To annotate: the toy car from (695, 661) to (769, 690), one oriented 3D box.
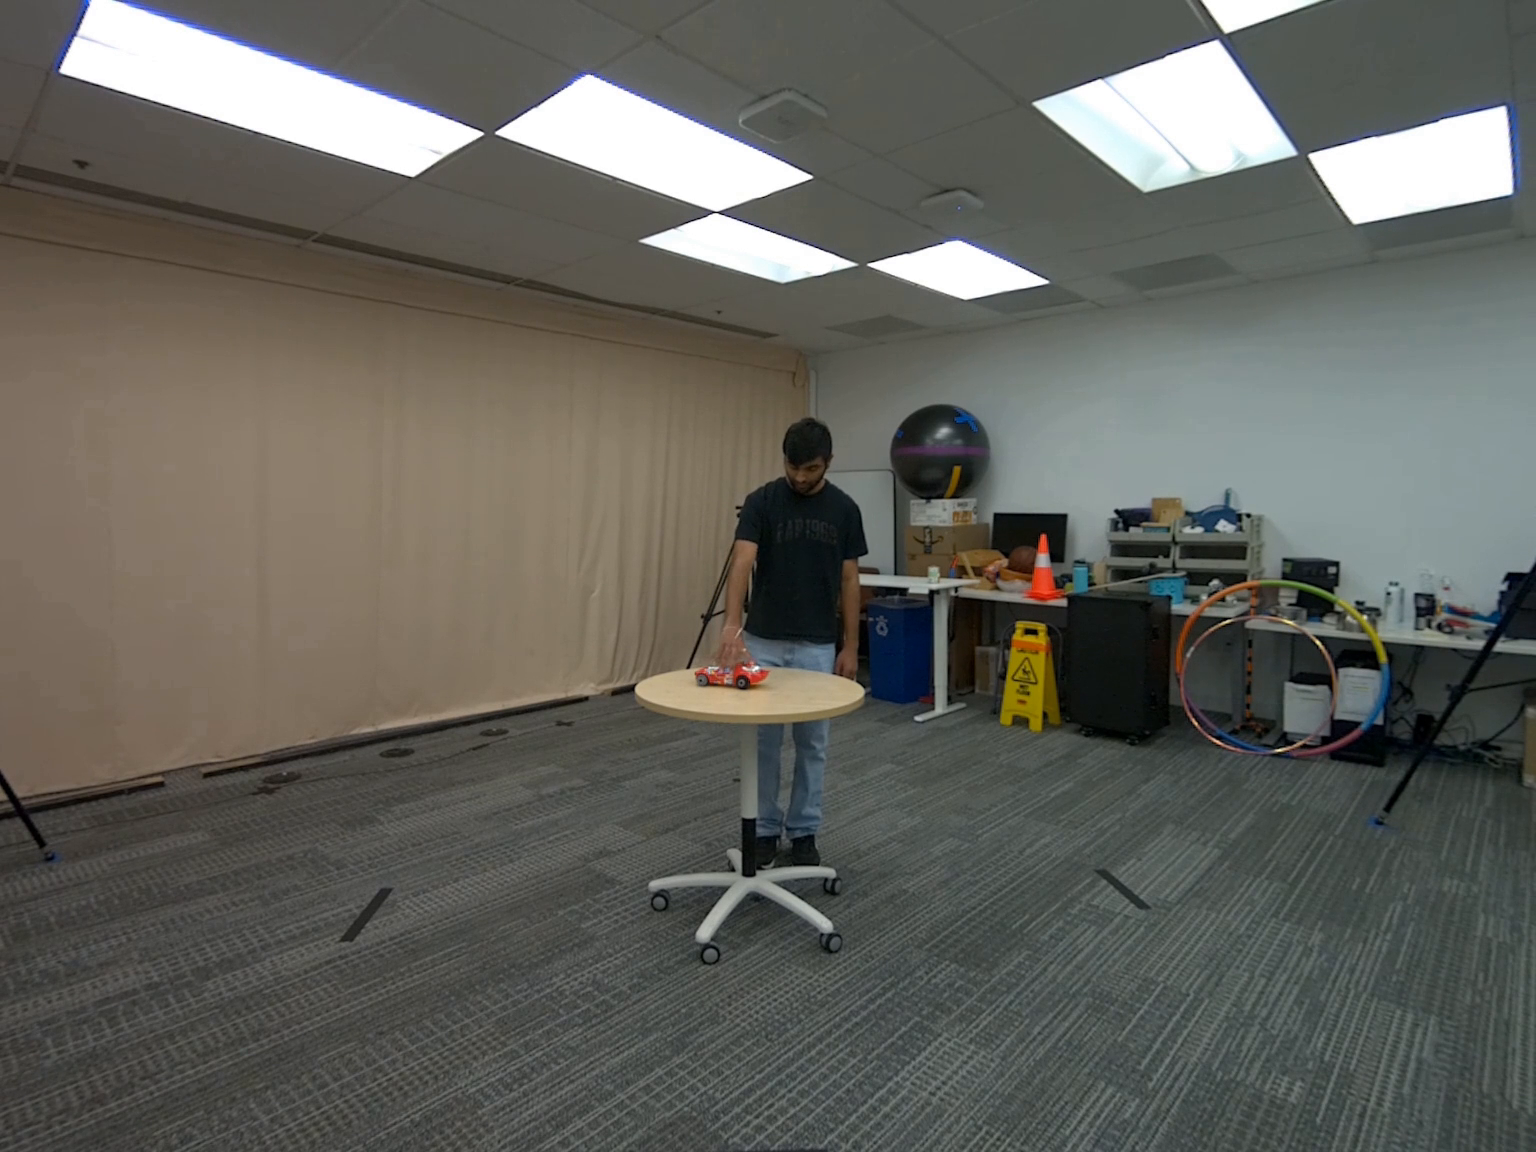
[{"bbox_3d":[-0.114,0.341,2.853,0.259,0.083,0.127,-9,-1,21],"label":"toy car"}]
